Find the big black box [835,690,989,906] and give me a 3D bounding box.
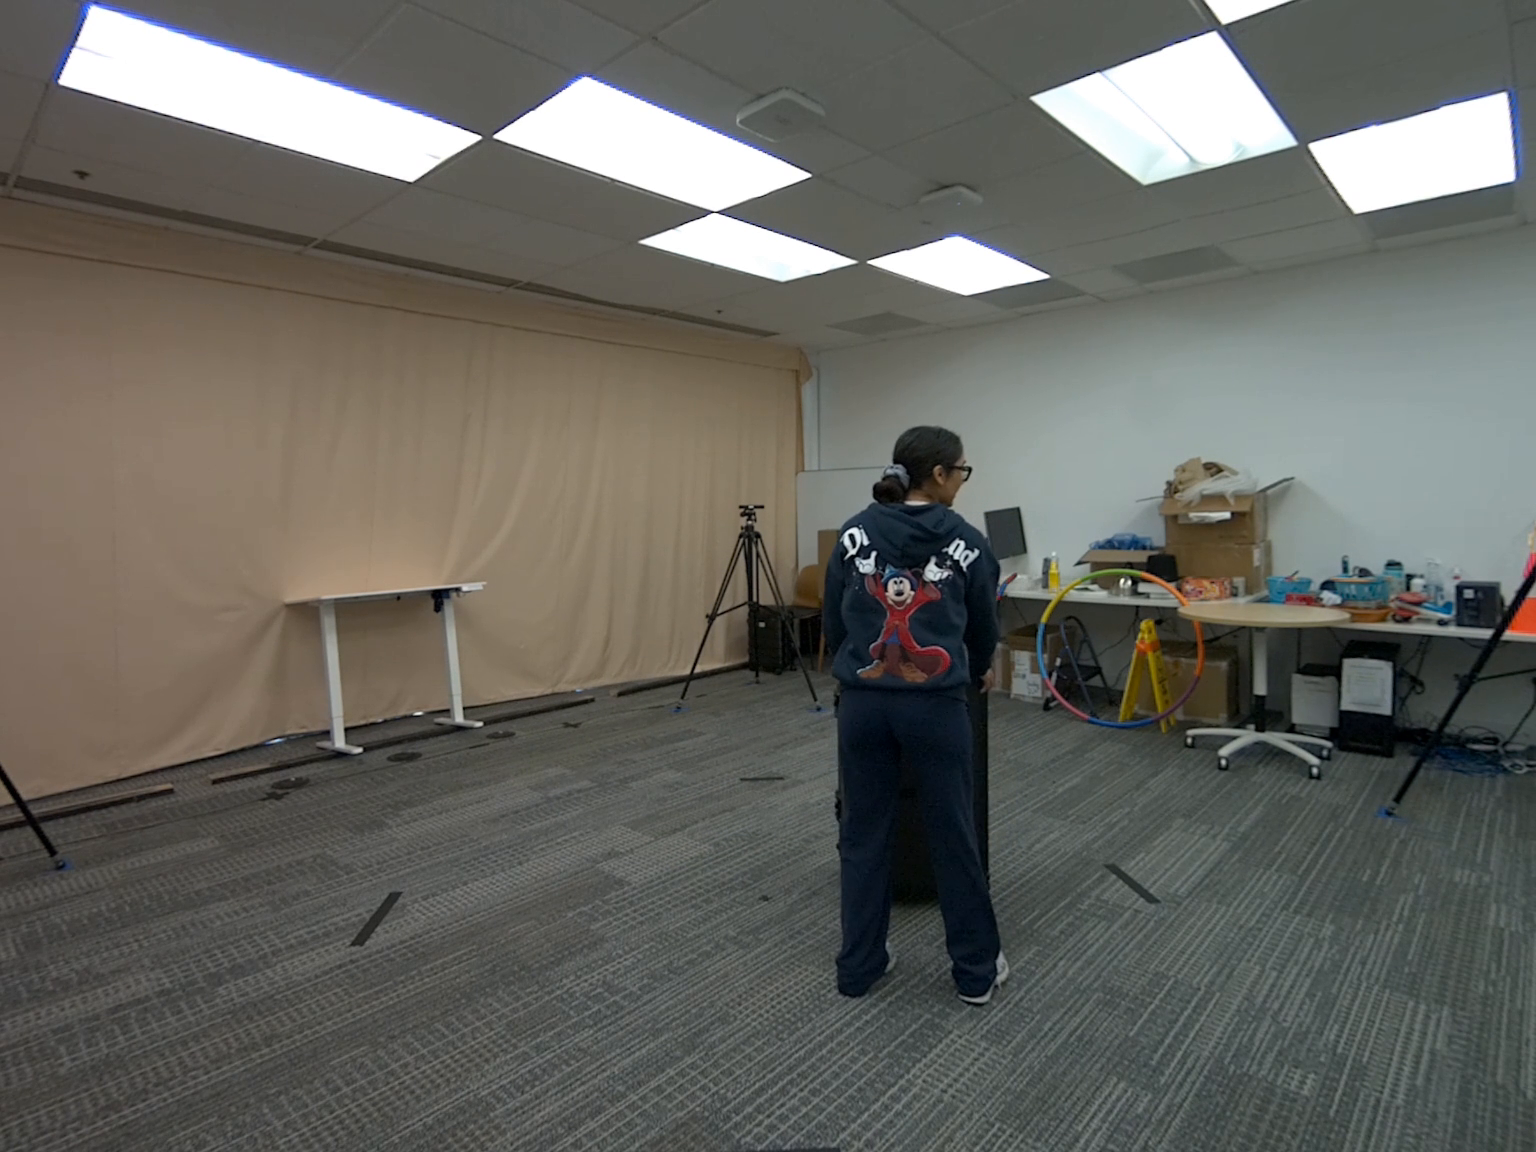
[{"bbox_3d":[0.516,0.708,2.997,0.524,0.859,0.395,0,4,4],"label":"big black box"}]
